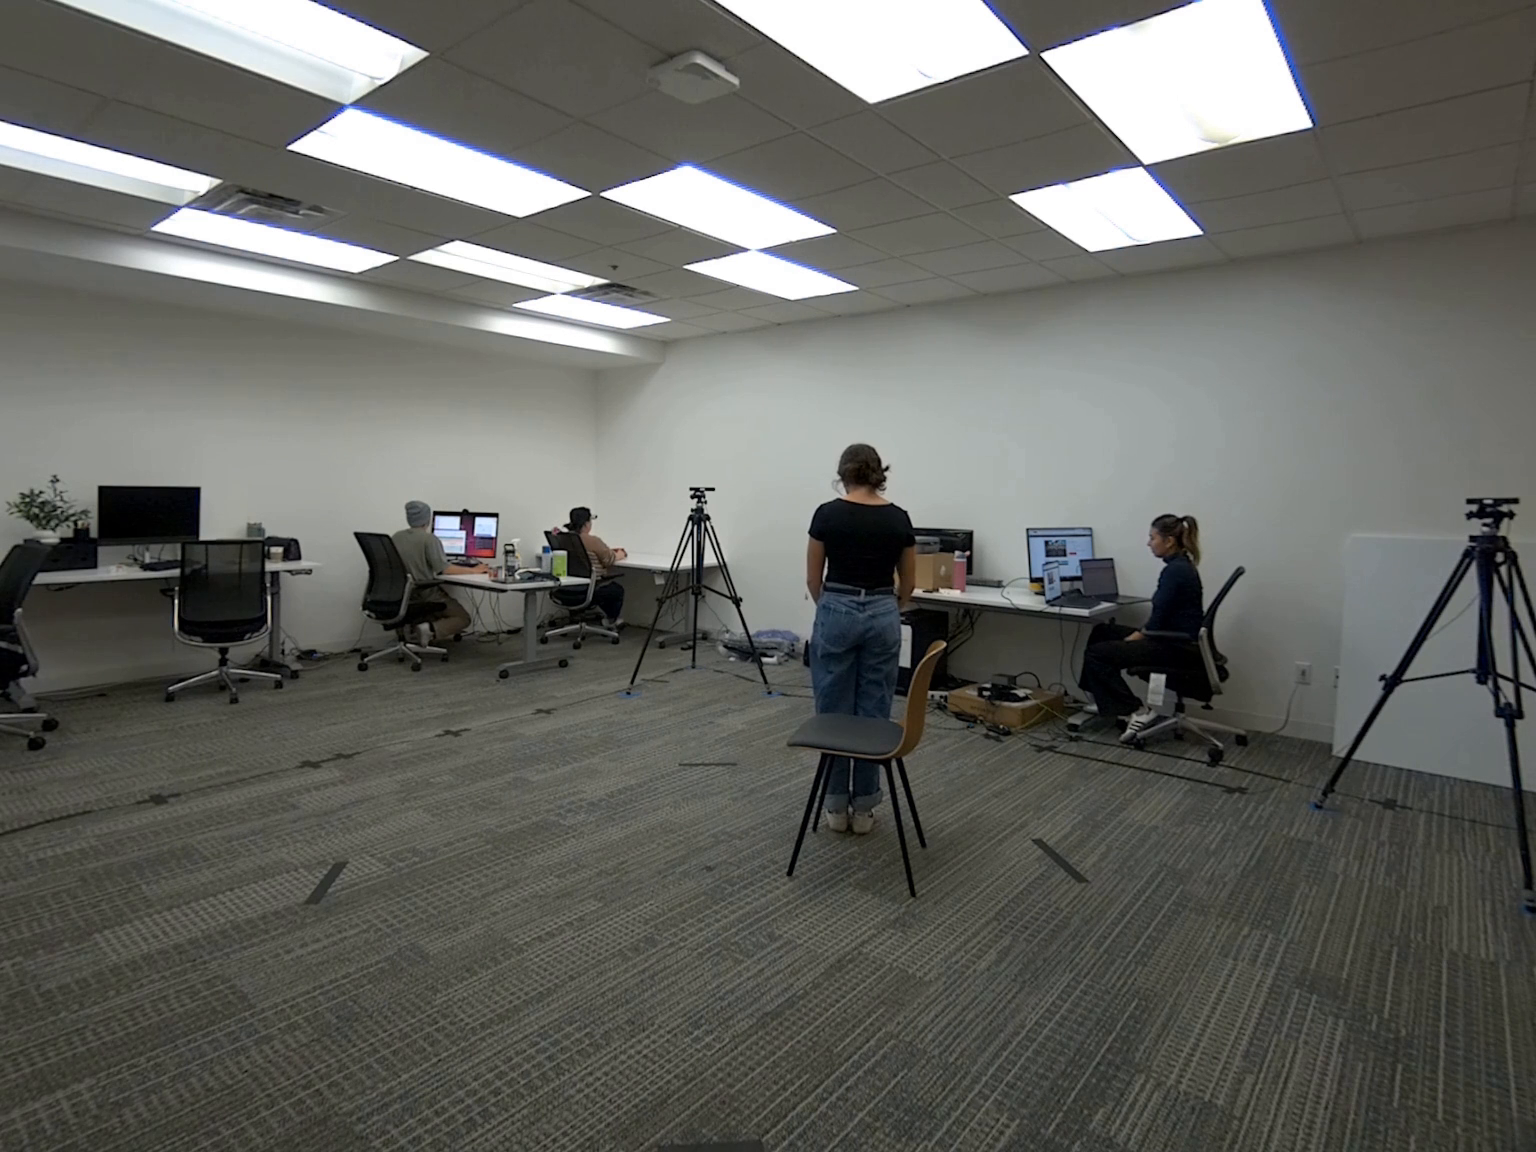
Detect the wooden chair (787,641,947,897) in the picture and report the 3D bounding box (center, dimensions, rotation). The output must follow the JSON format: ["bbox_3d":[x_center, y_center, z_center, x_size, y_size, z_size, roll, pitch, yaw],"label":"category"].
[{"bbox_3d":[0.342,0.644,3.174,0.534,0.874,0.470,7,4,16],"label":"wooden chair"}]
